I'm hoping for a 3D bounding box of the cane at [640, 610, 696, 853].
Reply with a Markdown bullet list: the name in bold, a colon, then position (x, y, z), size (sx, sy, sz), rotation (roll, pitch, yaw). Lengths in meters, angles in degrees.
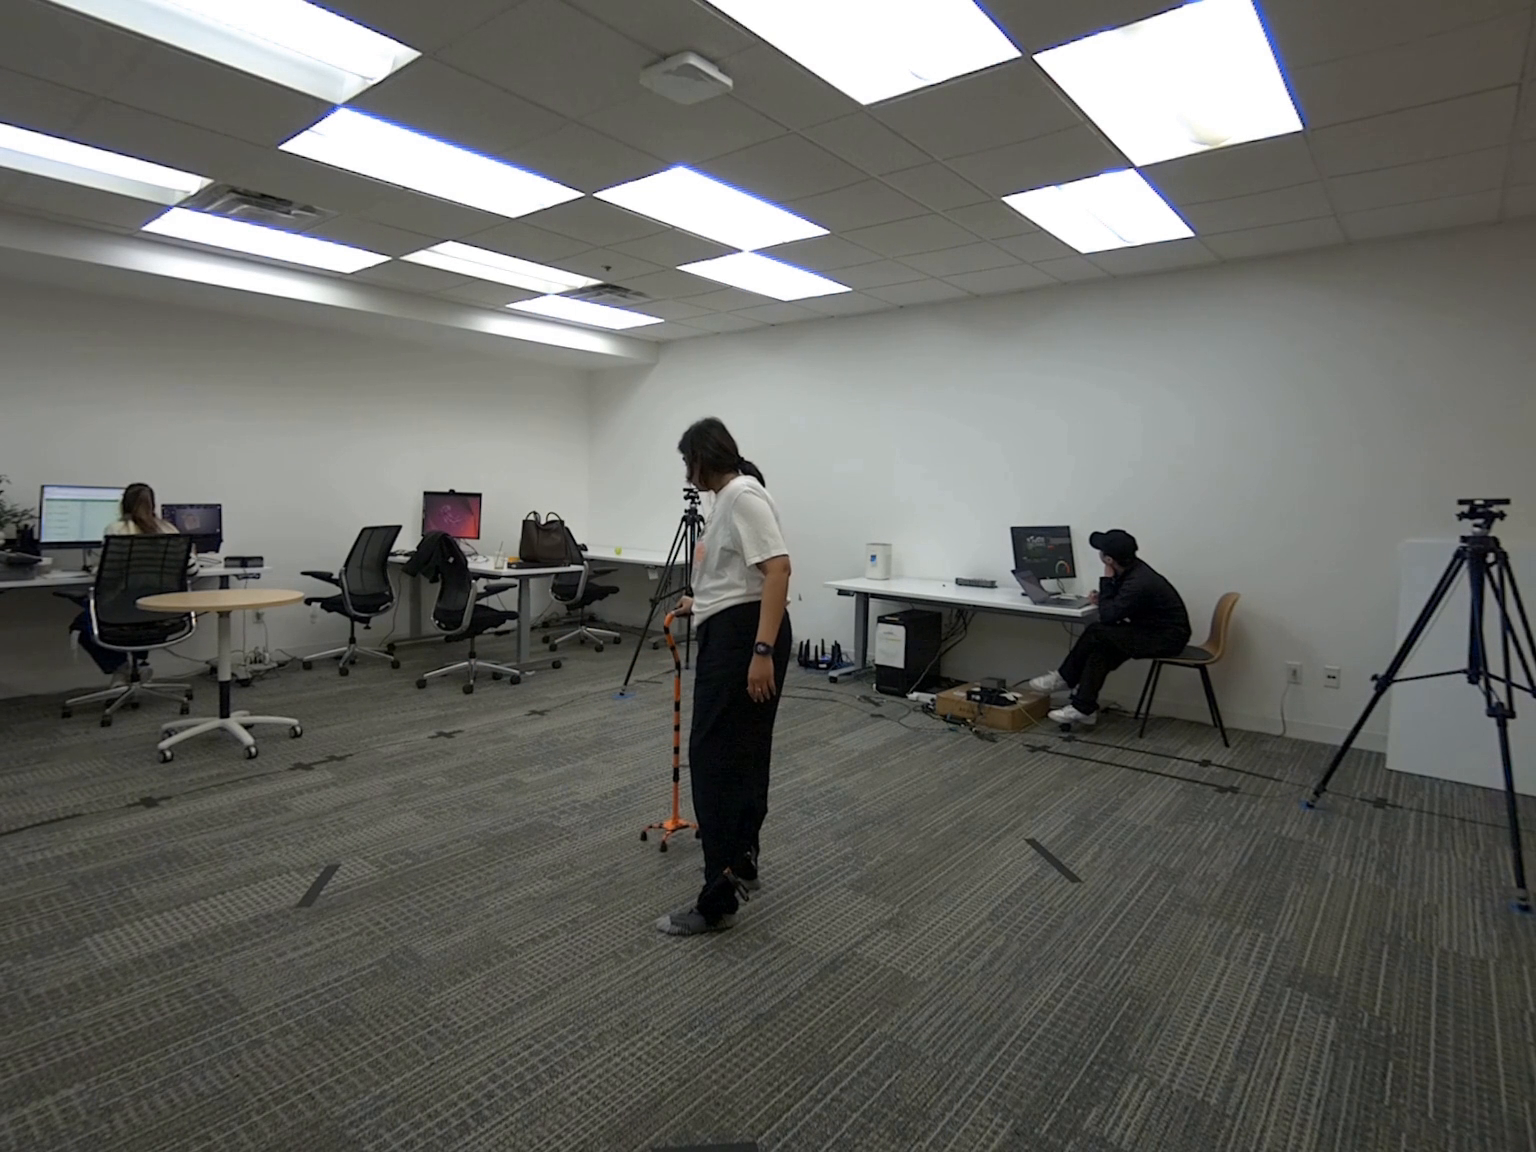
- **cane**: position (-0.378, 0.573, 3.278), size (0.157, 0.904, 0.200), rotation (5, 6, 43)
